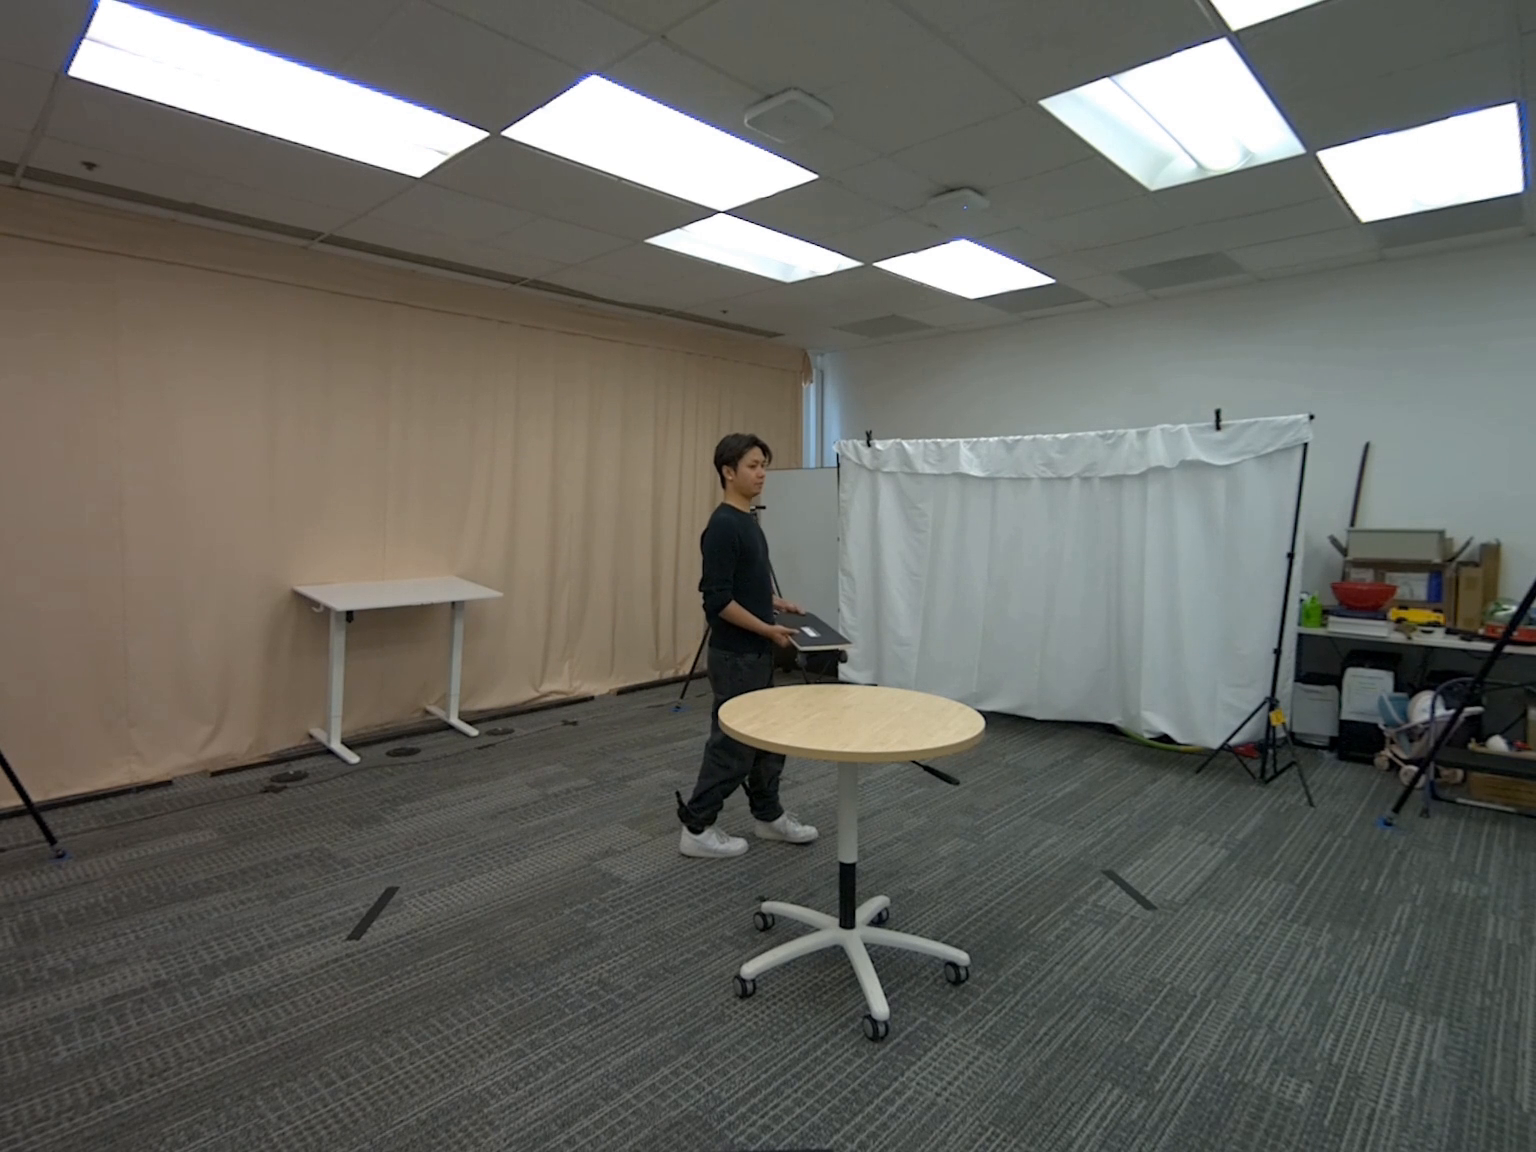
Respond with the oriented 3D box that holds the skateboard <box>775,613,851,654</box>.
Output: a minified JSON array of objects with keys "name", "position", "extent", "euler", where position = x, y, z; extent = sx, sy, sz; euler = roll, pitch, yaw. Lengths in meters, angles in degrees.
[{"name":"skateboard","position":[0.167,0.249,3.272],"extent":[0.192,0.110,0.795],"euler":[-4,7,-9]}]
